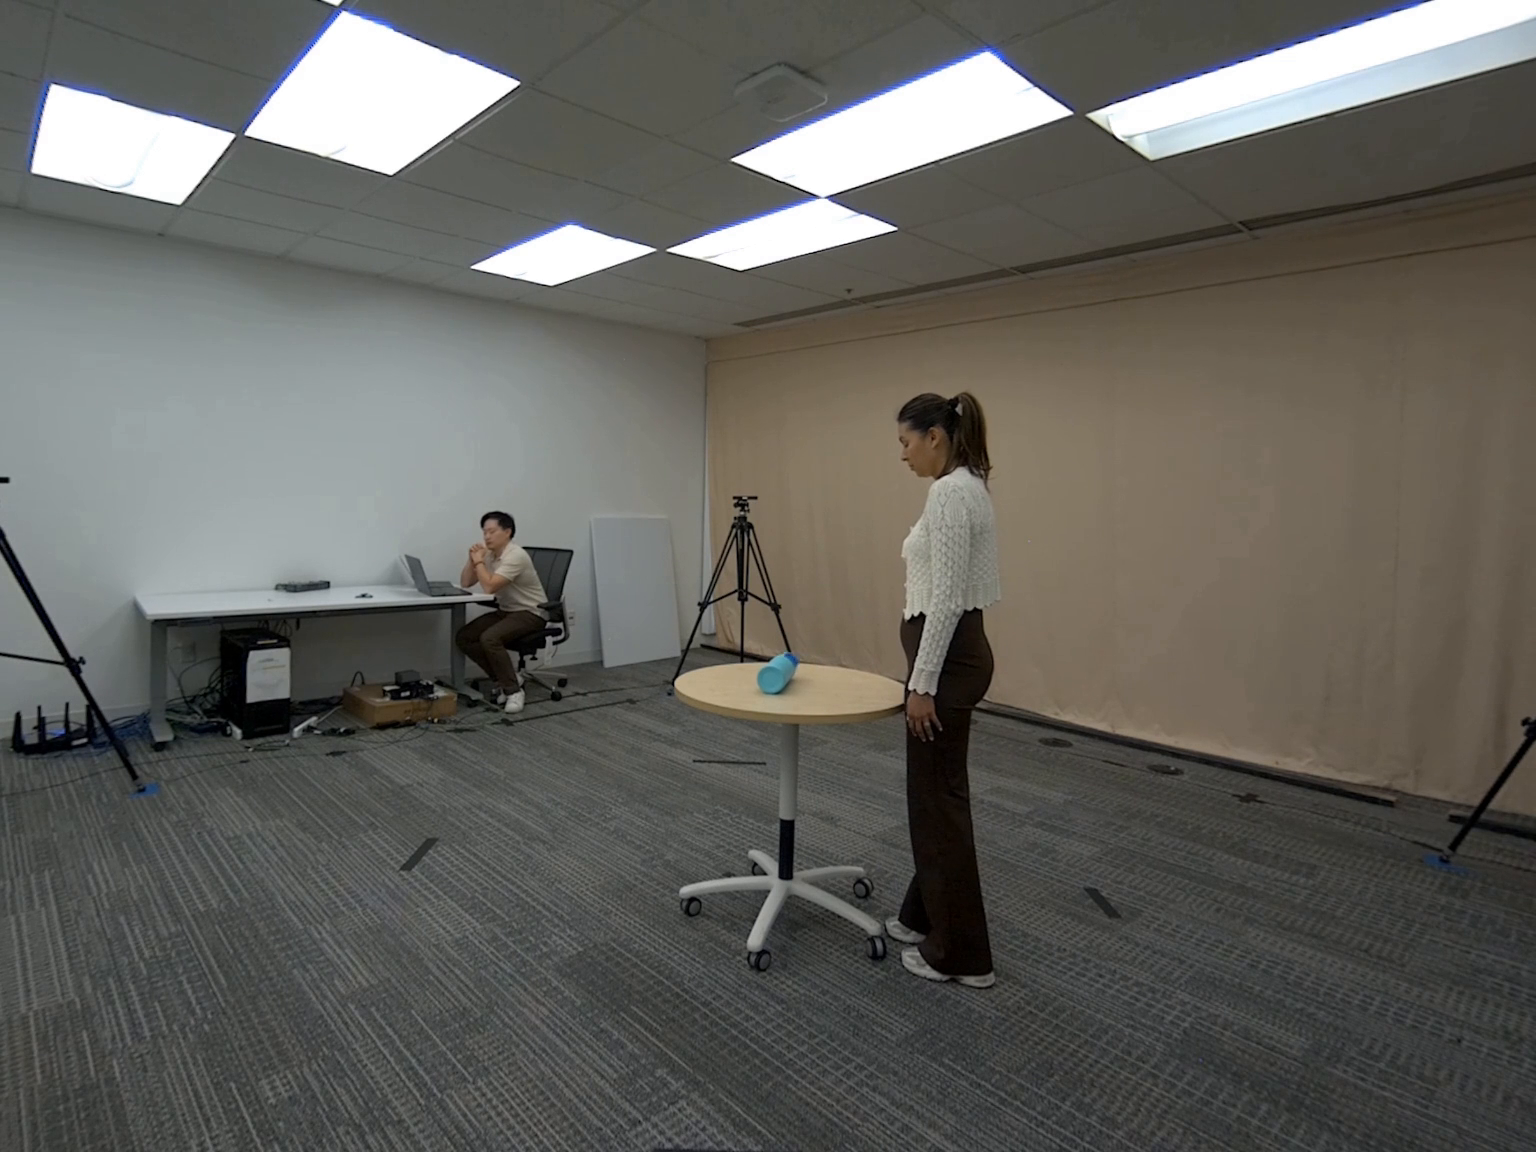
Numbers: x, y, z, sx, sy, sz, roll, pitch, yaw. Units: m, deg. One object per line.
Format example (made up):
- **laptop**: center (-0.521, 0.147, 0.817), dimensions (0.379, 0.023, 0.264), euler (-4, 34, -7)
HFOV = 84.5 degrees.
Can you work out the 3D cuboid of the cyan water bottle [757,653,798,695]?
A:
- **cyan water bottle**: center (0.036, 0.312, 2.737), dimensions (0.093, 0.092, 0.281), euler (2, 6, 11)
